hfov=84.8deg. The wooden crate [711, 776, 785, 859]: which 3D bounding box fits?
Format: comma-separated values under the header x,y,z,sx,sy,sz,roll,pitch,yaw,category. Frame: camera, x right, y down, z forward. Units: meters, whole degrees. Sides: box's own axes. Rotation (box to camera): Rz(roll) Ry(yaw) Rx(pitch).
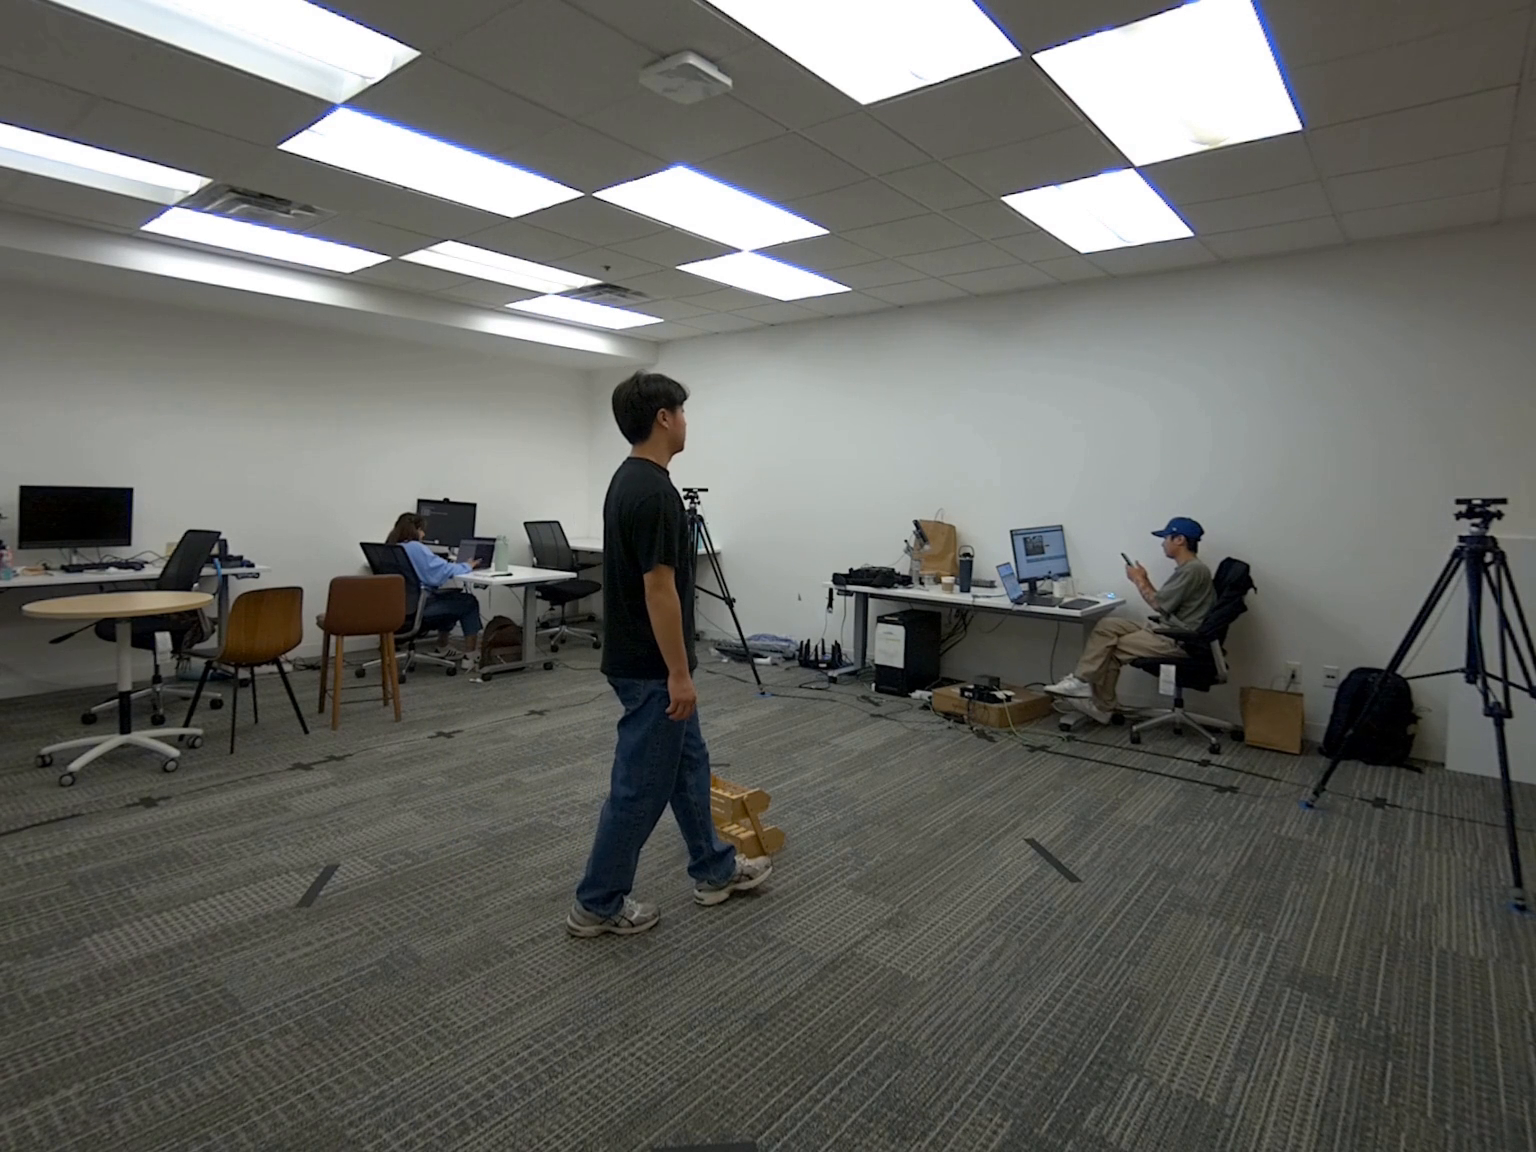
x,y,z,sx,sy,sz,roll,pitch,yaw,category
-0.151,0.915,3.331,0.335,0.272,0.293,5,6,43,wooden crate
